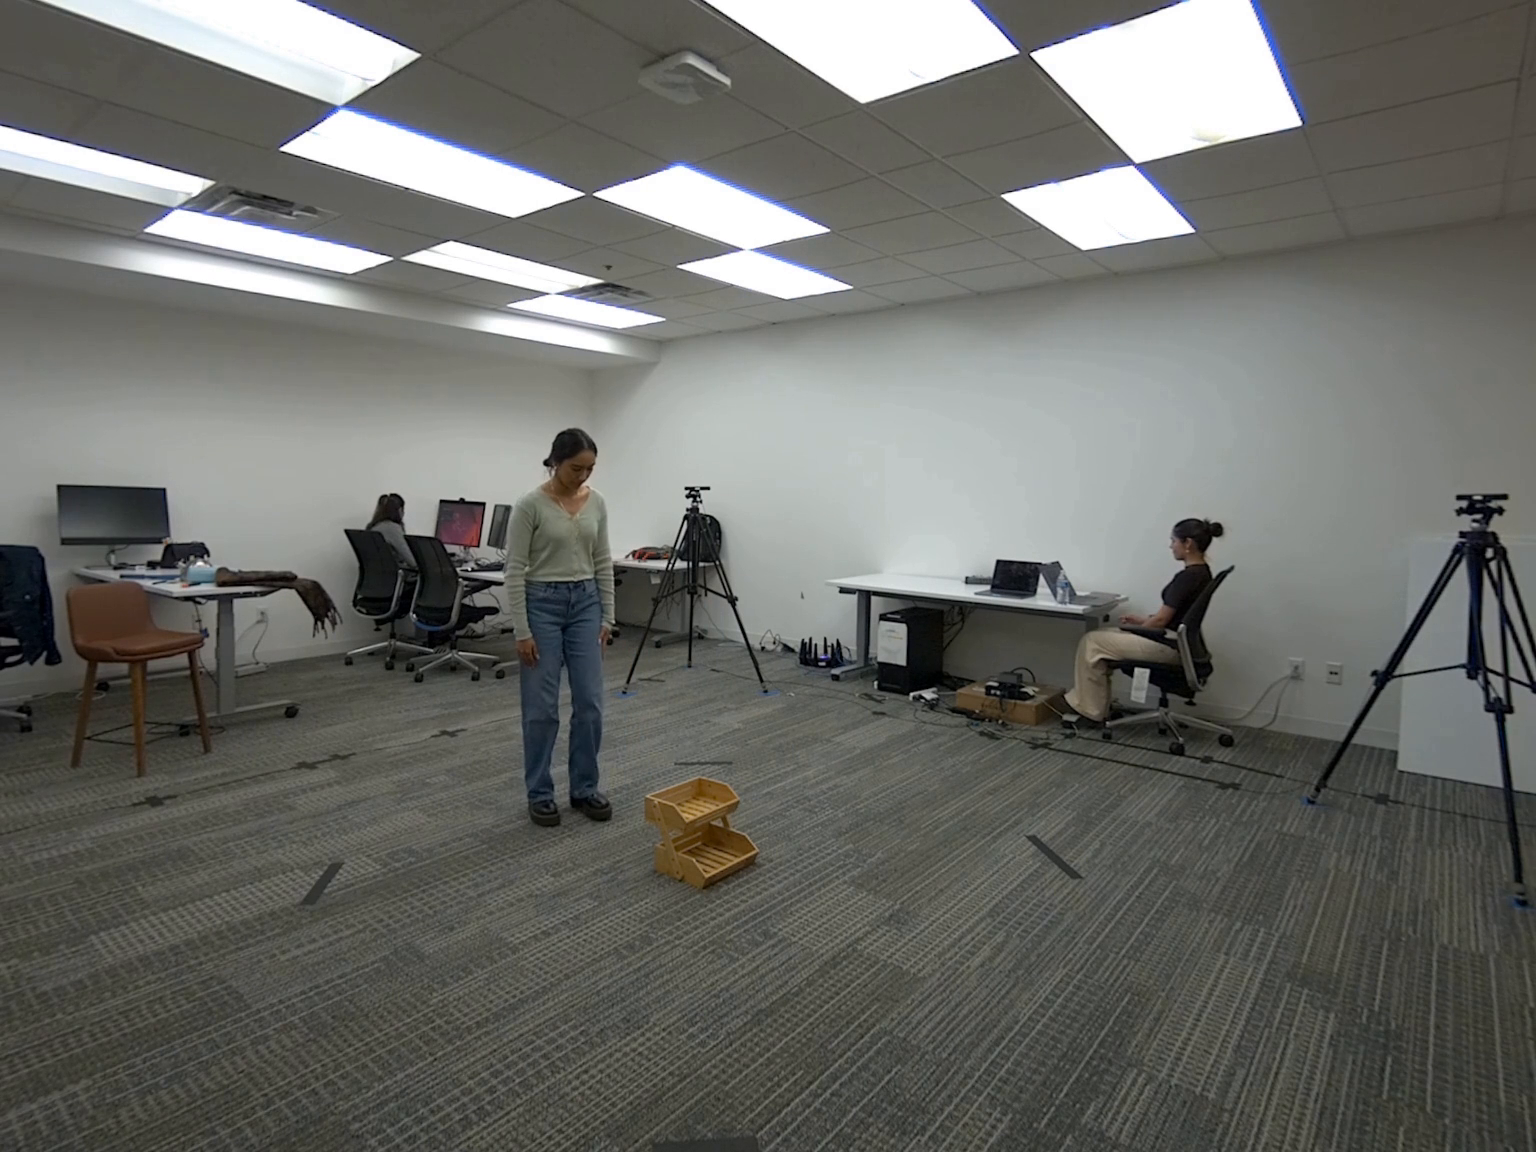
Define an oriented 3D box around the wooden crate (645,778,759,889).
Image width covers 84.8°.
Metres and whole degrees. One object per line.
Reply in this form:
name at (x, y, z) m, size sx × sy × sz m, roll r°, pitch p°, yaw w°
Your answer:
wooden crate at (-0.252, 0.927, 3.132) m, size 0.312 × 0.272 × 0.315 m, roll 3°, pitch 5°, yaw 39°
